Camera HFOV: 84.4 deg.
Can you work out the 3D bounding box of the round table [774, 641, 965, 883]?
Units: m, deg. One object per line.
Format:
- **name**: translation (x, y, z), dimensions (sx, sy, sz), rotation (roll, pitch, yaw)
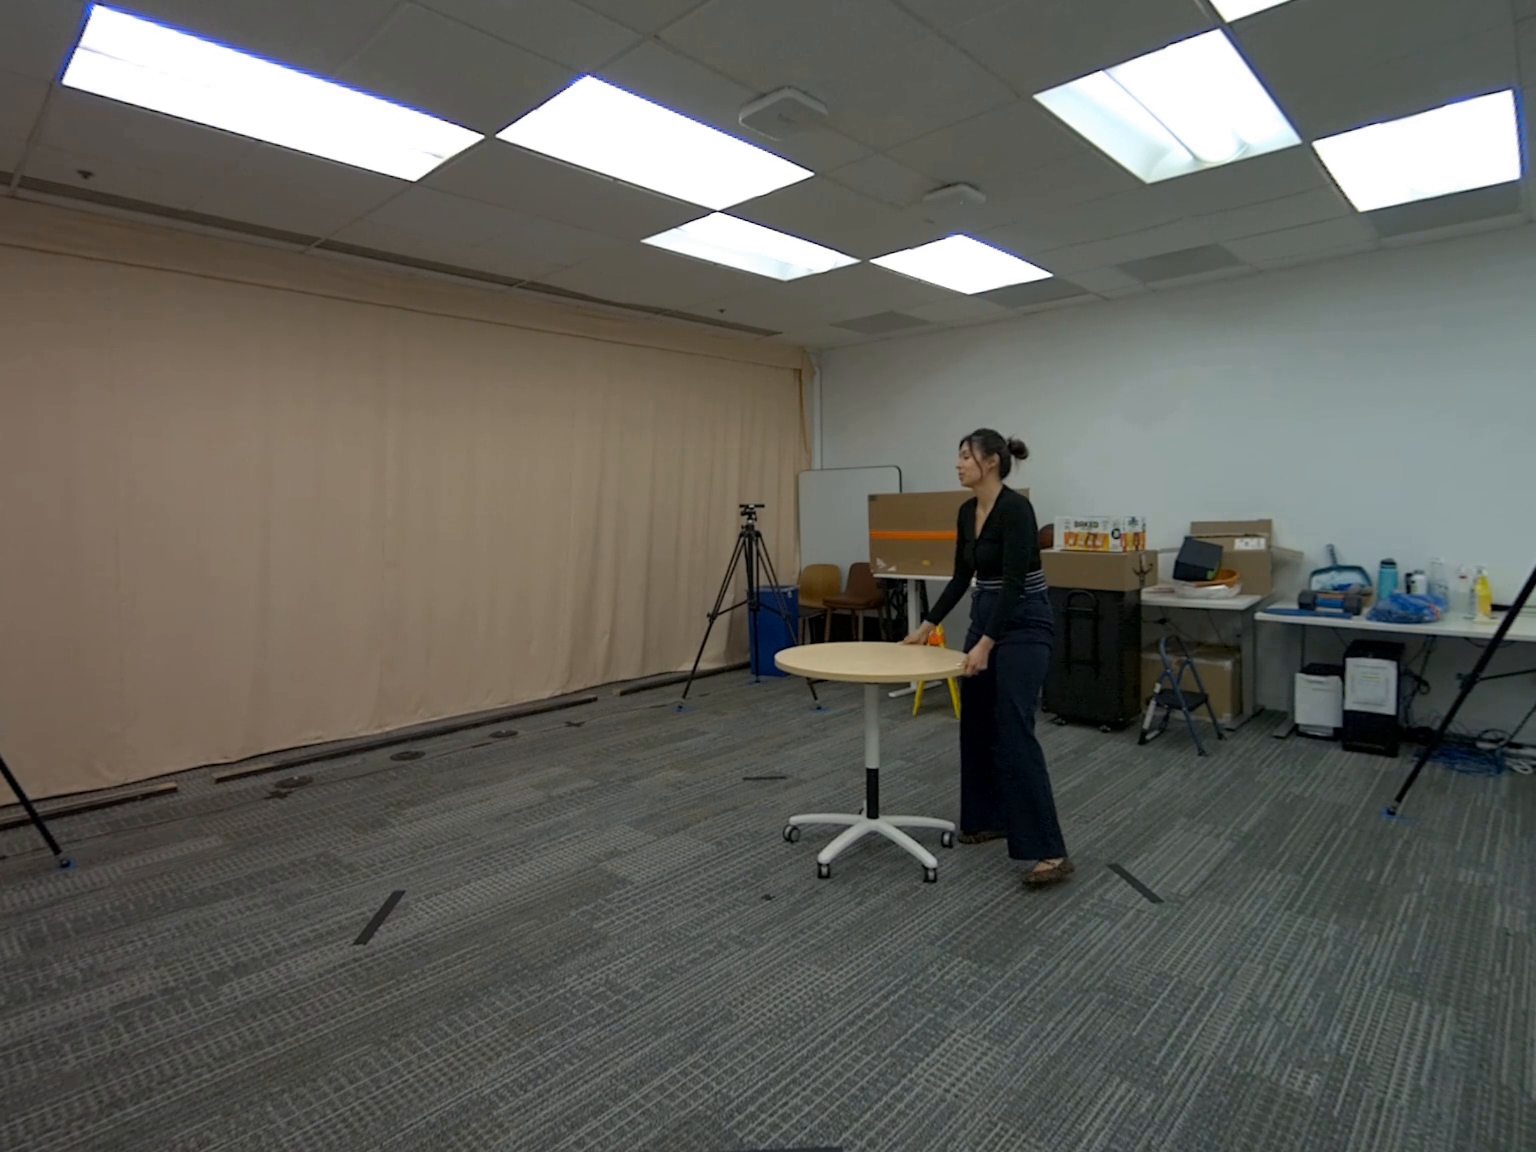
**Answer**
- **round table**: translation (0.415, 0.716, 3.345), dimensions (0.763, 0.792, 0.766), rotation (0, 3, -2)
